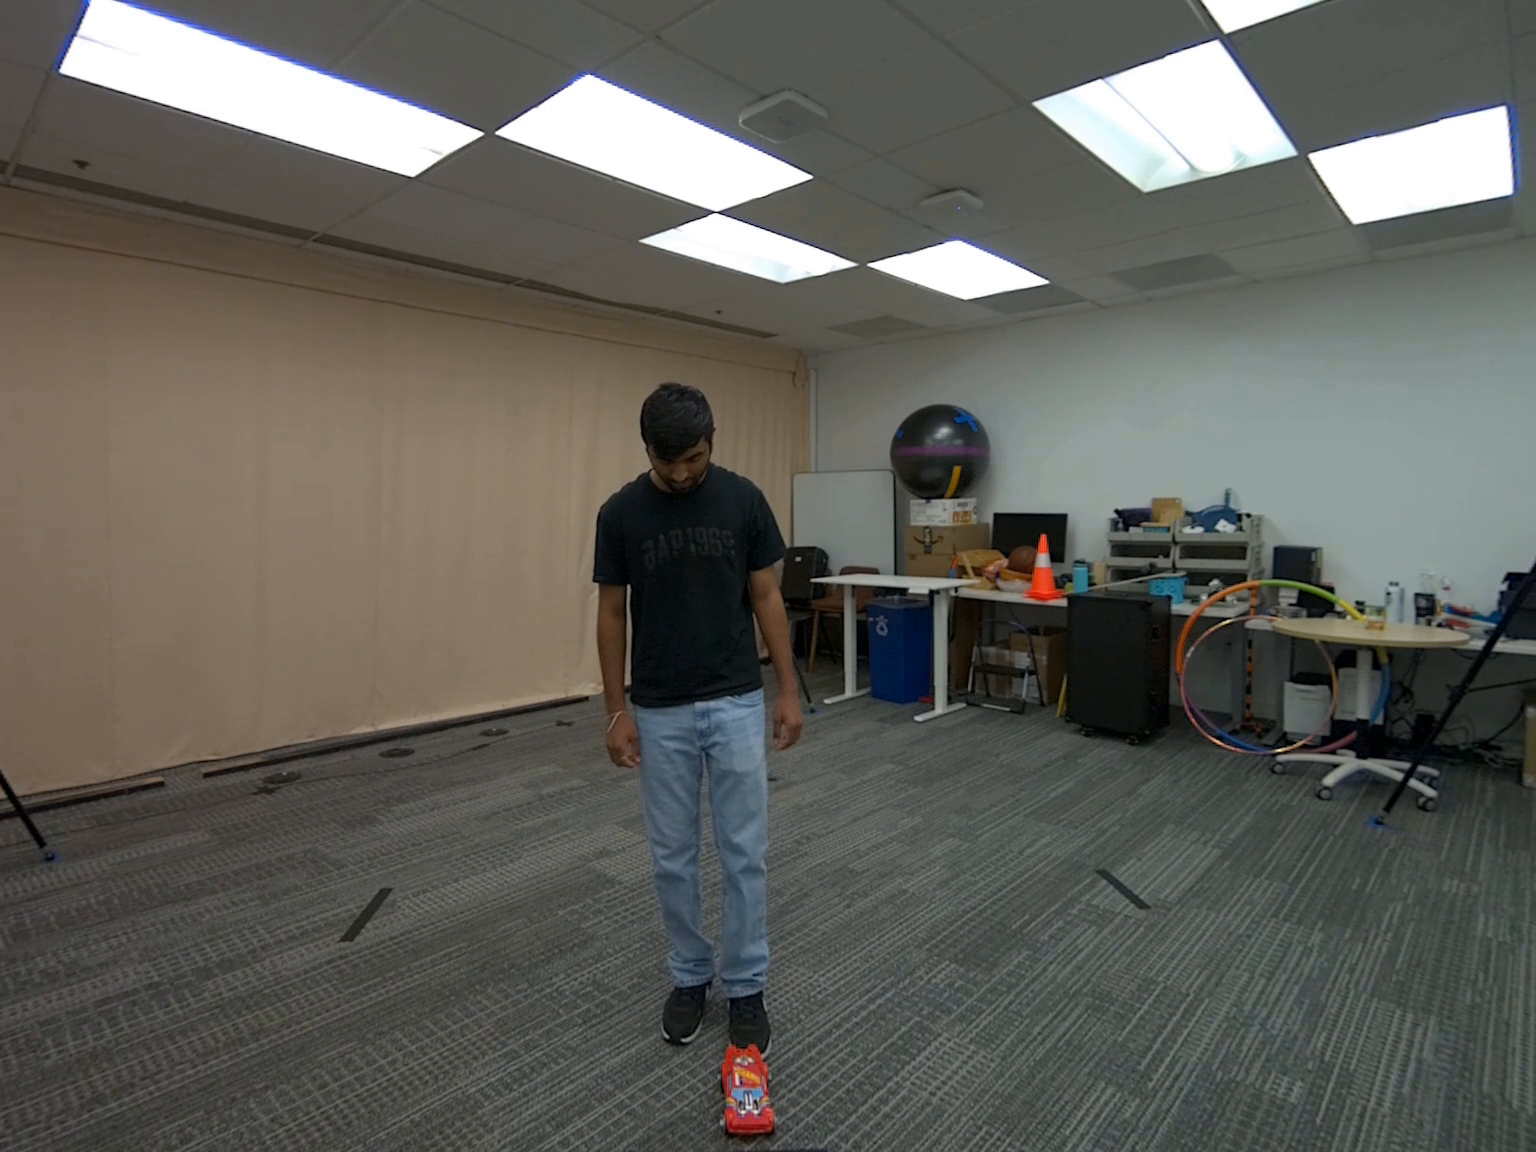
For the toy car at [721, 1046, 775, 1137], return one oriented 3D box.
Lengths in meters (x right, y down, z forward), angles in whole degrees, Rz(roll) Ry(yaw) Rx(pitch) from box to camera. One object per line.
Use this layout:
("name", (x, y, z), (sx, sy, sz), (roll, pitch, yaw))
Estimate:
("toy car", (-0.054, 1.194, 1.964), (0.130, 0.082, 0.258), (-1, 16, -5))
